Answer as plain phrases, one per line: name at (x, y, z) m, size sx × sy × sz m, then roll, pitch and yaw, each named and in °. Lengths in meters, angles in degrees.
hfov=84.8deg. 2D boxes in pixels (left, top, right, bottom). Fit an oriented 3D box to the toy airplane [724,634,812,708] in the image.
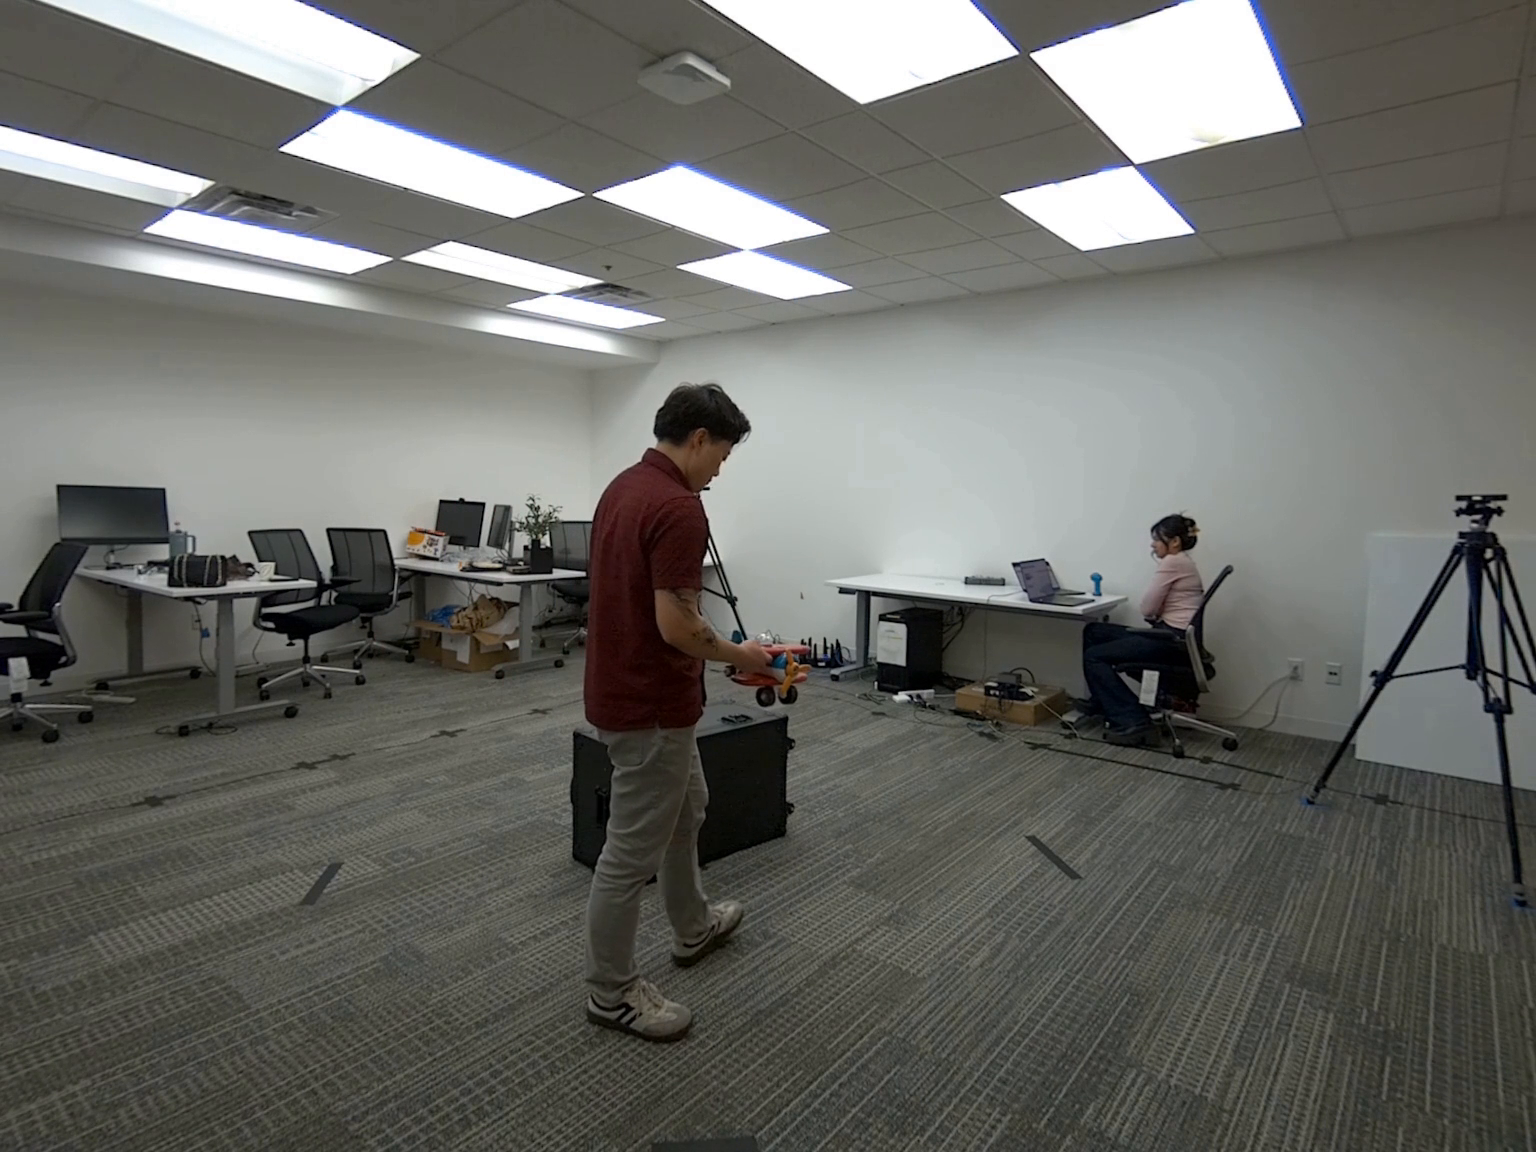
toy airplane at (-0.034, 0.242, 2.315) m, size 0.266 × 0.155 × 0.247 m, roll 20°, pitch 14°, yaw 18°
